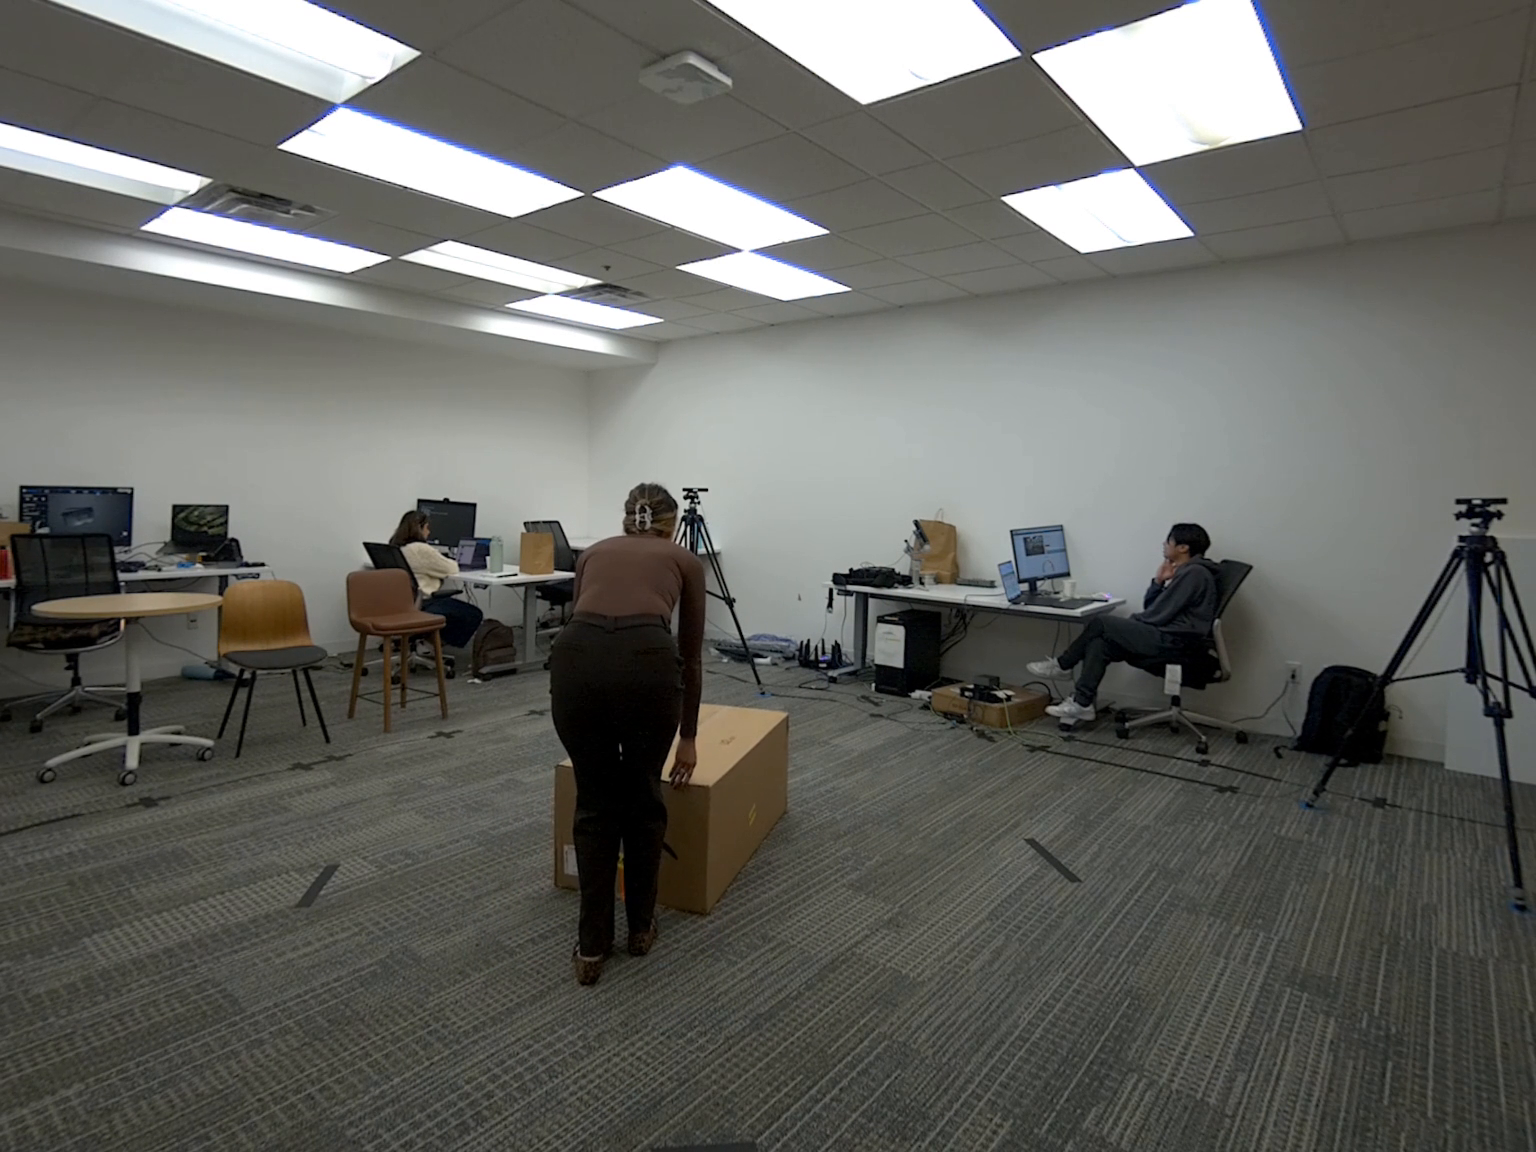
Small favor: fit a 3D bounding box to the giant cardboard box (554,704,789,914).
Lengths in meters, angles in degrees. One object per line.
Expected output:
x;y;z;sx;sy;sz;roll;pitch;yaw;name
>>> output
-0.335;0.836;3.324;0.596;0.445;1.011;4;6;17;giant cardboard box
